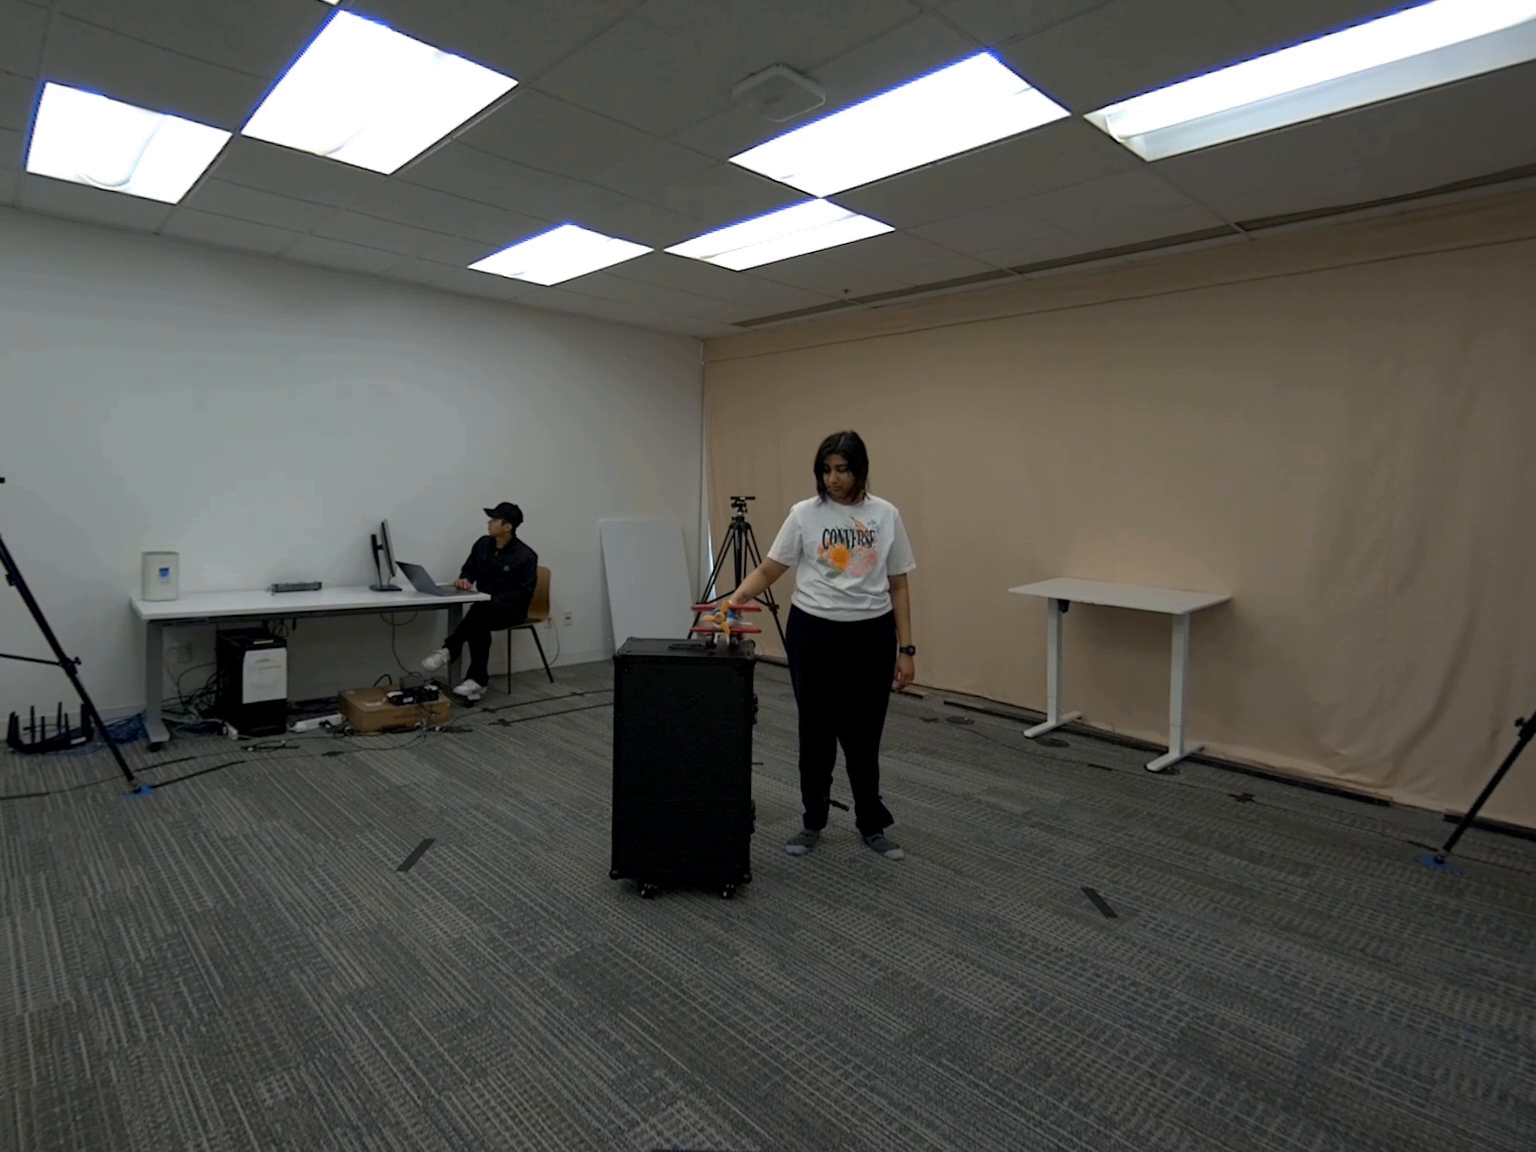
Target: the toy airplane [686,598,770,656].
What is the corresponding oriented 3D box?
[{"bbox_3d":[-0.151,0.175,3.035,0.249,0.156,0.262,-3,4,-12],"label":"toy airplane"}]
